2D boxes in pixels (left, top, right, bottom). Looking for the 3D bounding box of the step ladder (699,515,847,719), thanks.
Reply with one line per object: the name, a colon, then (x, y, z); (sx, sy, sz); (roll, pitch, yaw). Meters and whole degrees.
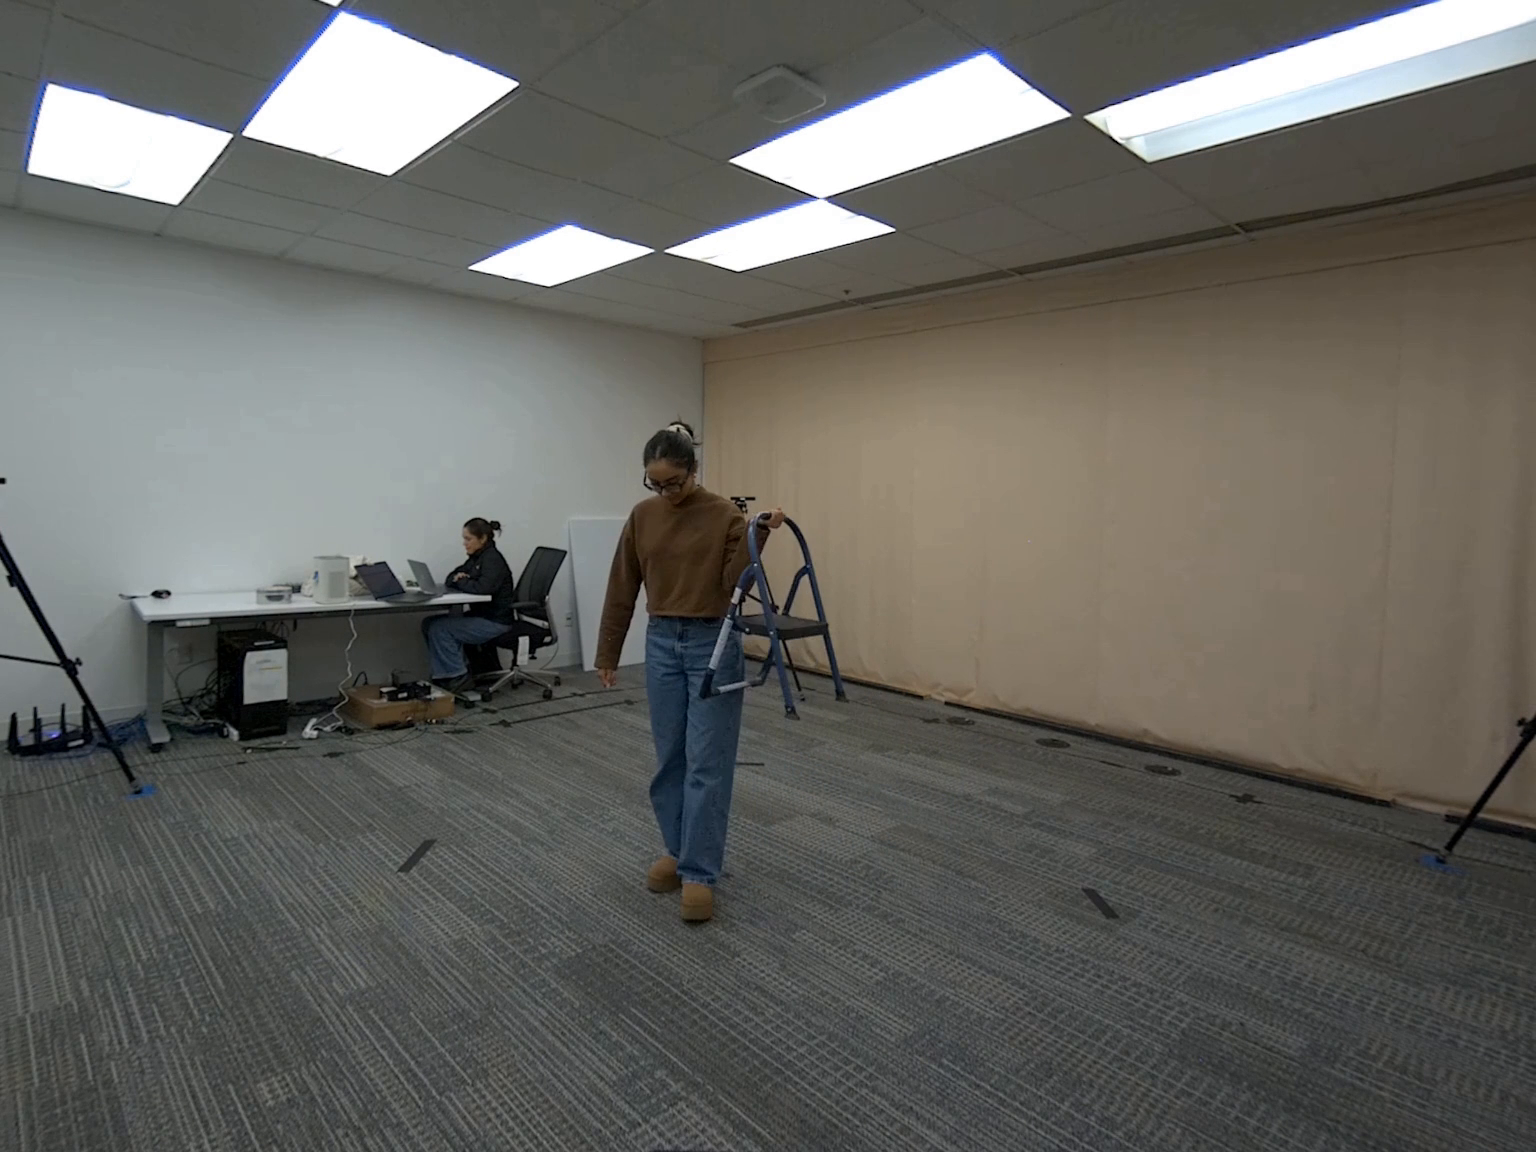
step ladder: (0.047, 0.109, 2.747); (0.357, 0.605, 0.421); (7, 2, 28)
